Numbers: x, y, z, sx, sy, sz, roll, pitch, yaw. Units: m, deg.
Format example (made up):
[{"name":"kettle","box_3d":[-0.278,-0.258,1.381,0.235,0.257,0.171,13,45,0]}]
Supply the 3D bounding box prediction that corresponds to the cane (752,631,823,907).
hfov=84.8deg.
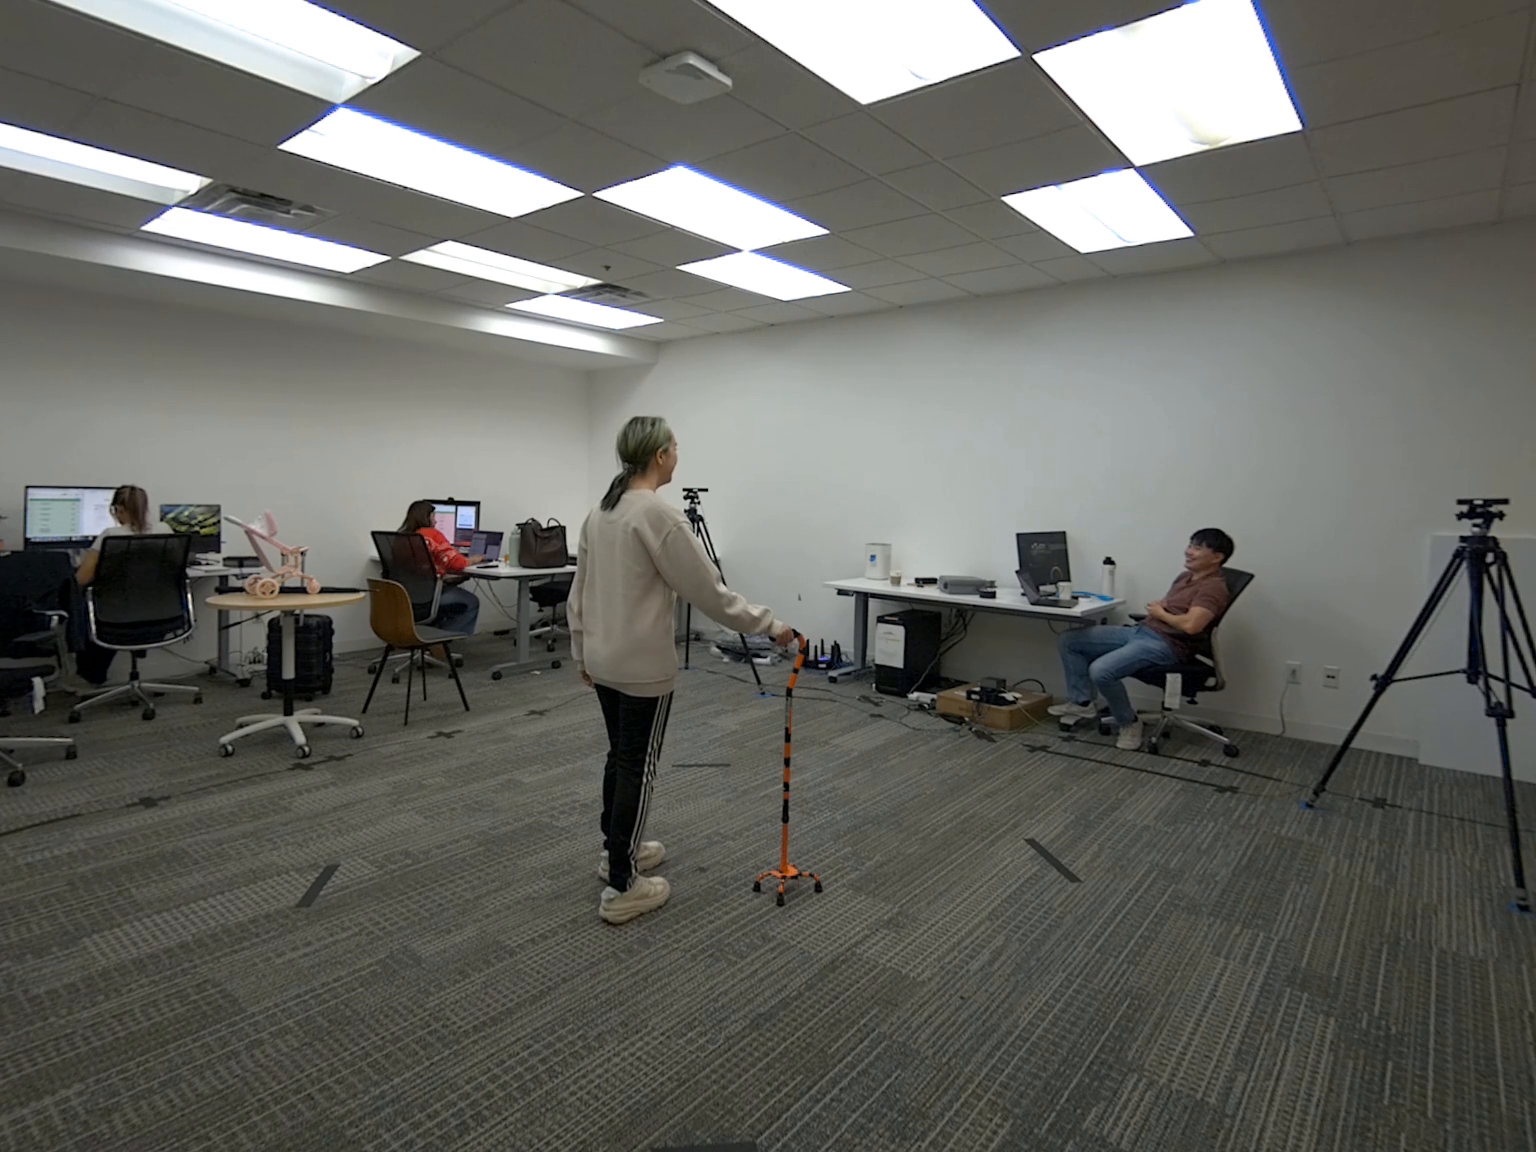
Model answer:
[{"name":"cane","box_3d":[0.082,0.640,2.942,0.200,0.906,0.157,2,2,-40]}]
